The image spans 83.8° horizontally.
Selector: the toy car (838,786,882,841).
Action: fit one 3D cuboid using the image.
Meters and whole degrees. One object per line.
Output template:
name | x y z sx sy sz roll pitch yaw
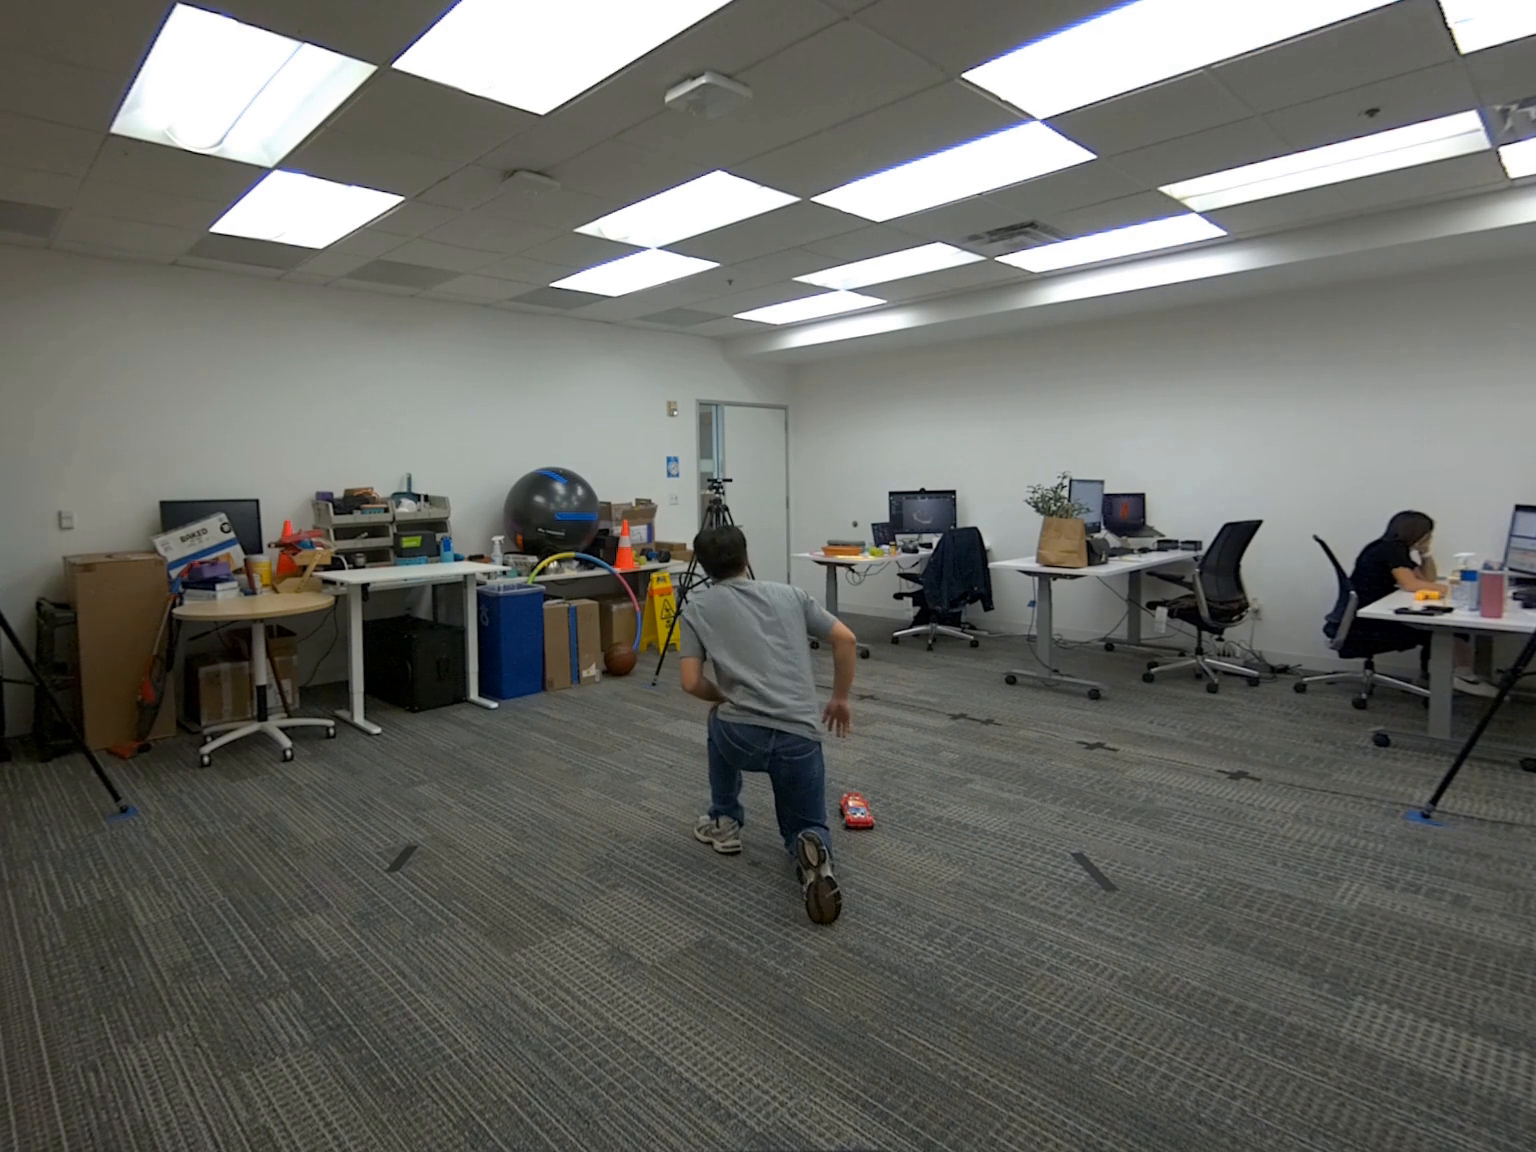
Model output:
toy car | 0.370 0.964 3.500 0.130 0.082 0.259 -1 17 -3
